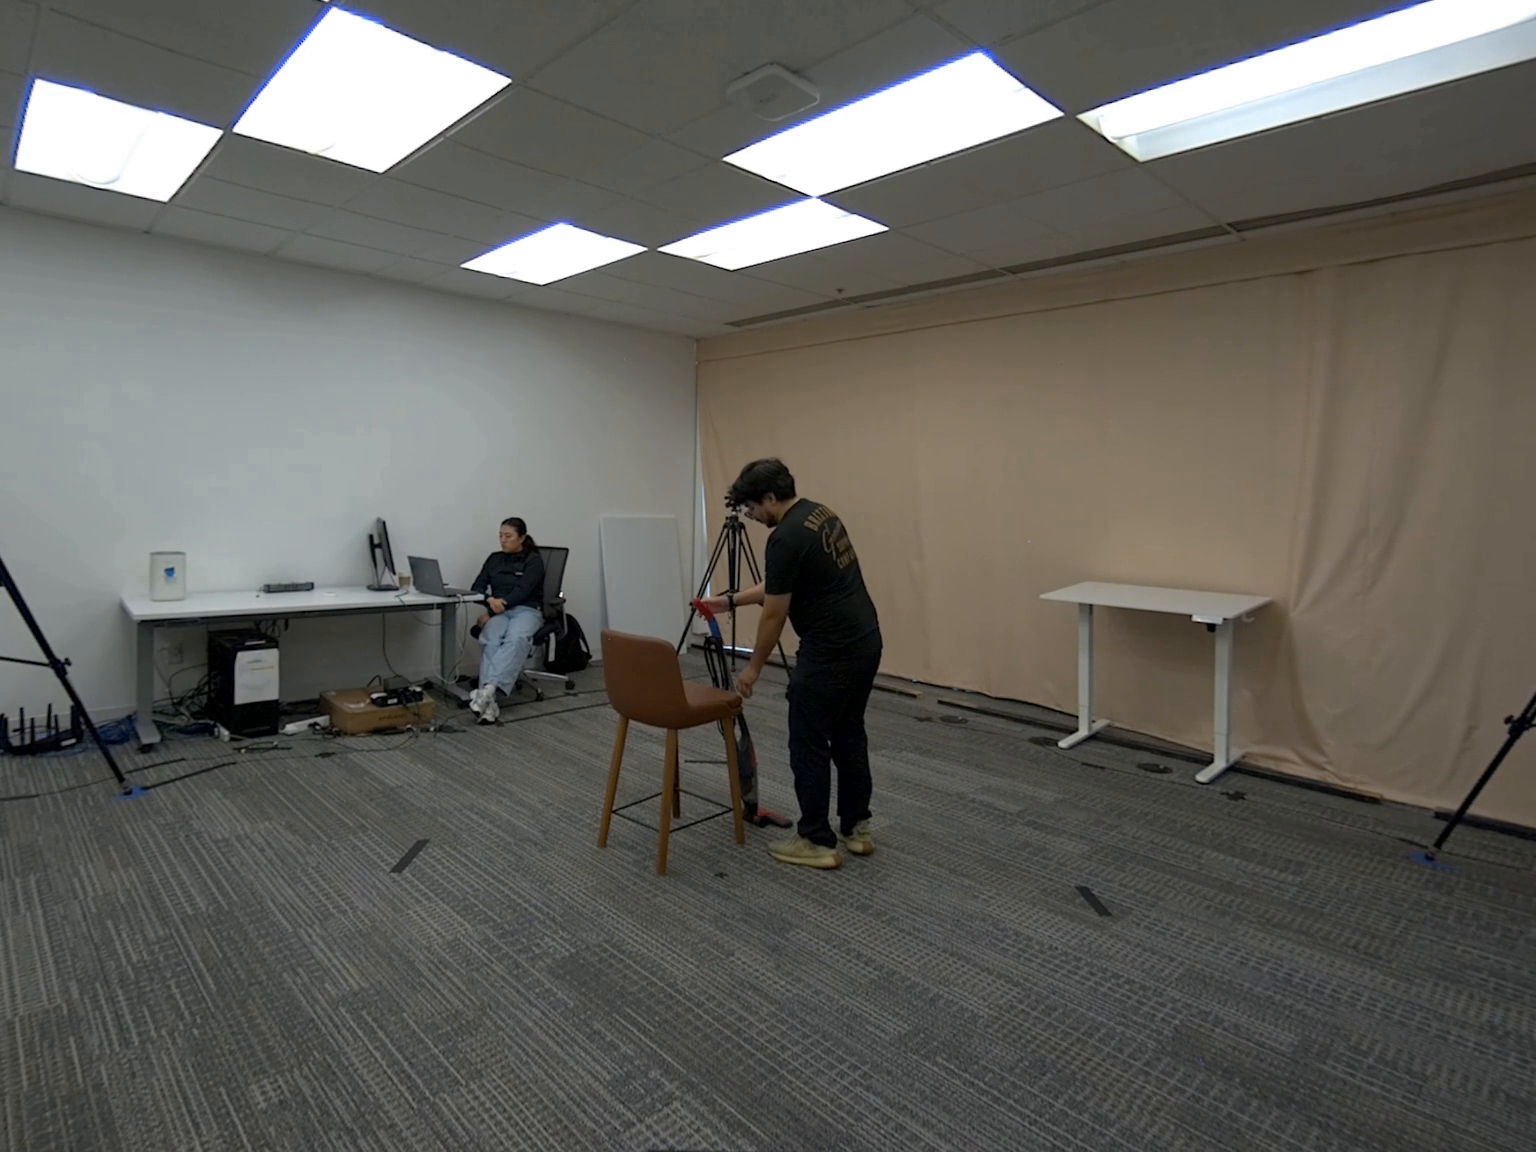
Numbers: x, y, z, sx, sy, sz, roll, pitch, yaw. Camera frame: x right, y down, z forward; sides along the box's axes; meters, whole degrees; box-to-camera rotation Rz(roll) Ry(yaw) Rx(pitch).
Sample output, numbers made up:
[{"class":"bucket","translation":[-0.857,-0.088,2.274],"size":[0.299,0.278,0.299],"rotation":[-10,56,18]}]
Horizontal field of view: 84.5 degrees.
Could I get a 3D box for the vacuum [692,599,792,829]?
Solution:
[{"class":"vacuum","translation":[-0.163,0.579,3.520],"size":[0.142,1.034,0.259],"rotation":[-26,19,-34]}]
